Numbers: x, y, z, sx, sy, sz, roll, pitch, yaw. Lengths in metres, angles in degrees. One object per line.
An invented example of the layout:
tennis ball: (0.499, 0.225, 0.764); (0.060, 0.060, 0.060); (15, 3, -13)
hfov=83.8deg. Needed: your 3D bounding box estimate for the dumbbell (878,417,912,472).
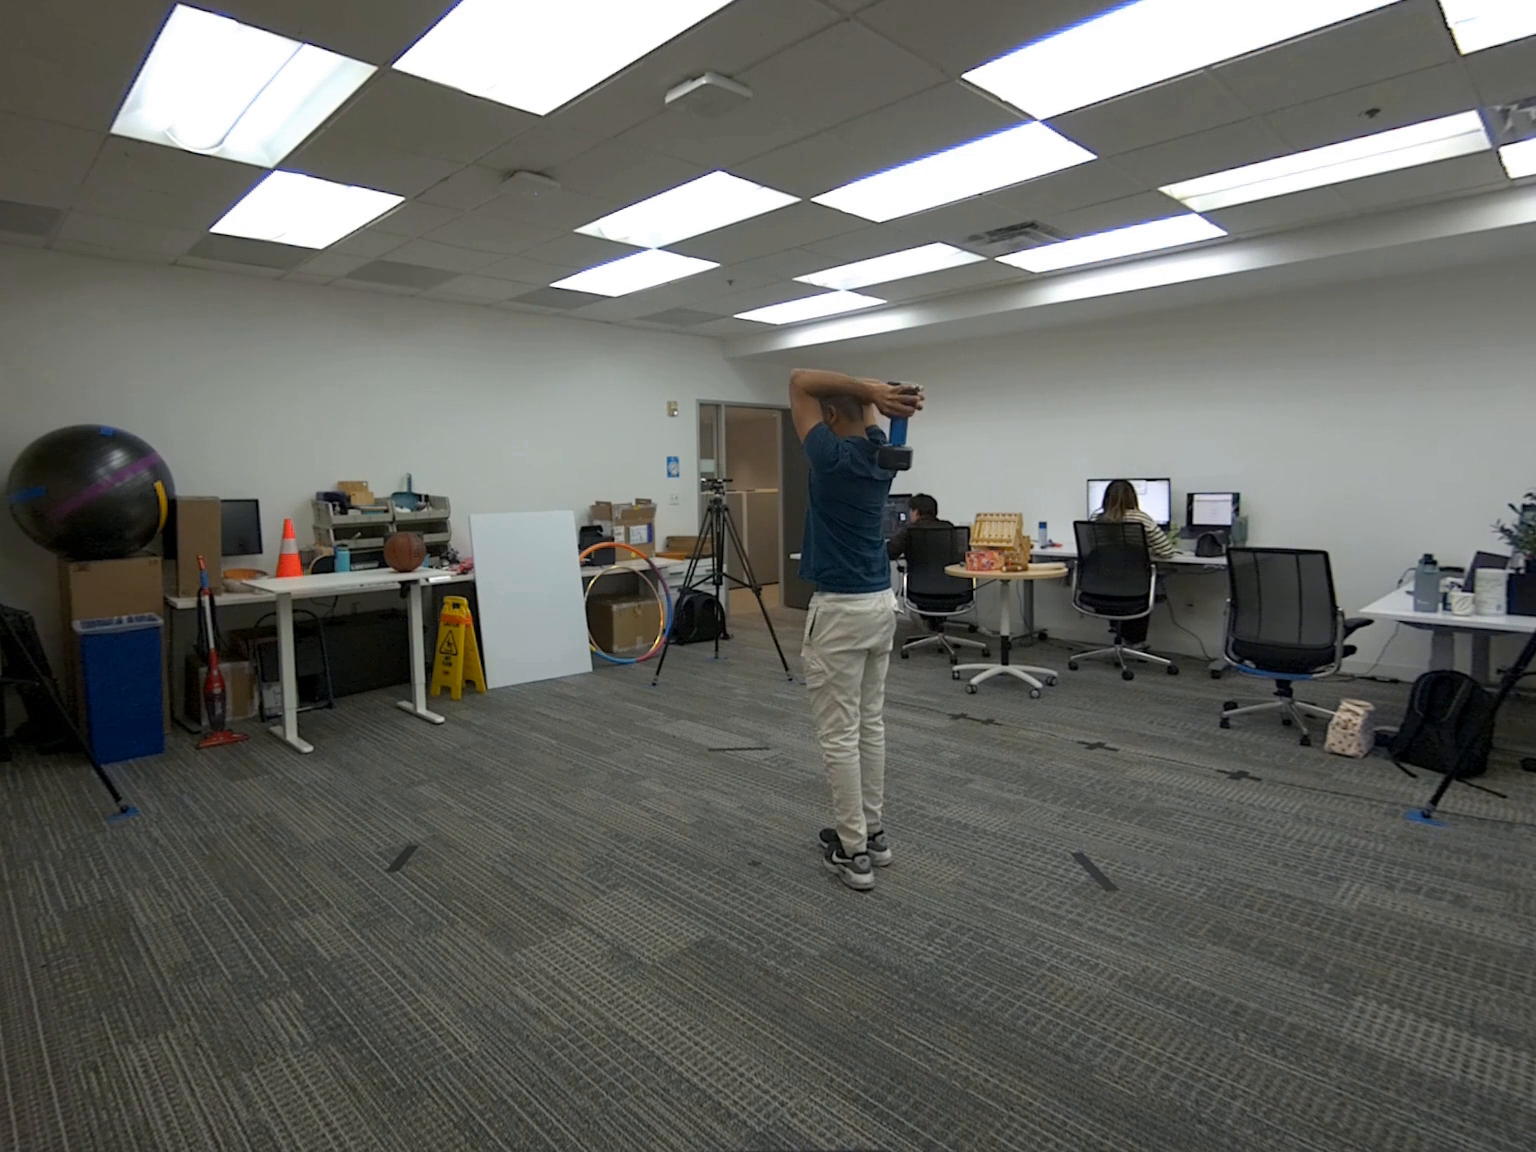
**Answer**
dumbbell: (0.432, -0.510, 2.896); (0.127, 0.293, 0.105); (8, 4, 44)
